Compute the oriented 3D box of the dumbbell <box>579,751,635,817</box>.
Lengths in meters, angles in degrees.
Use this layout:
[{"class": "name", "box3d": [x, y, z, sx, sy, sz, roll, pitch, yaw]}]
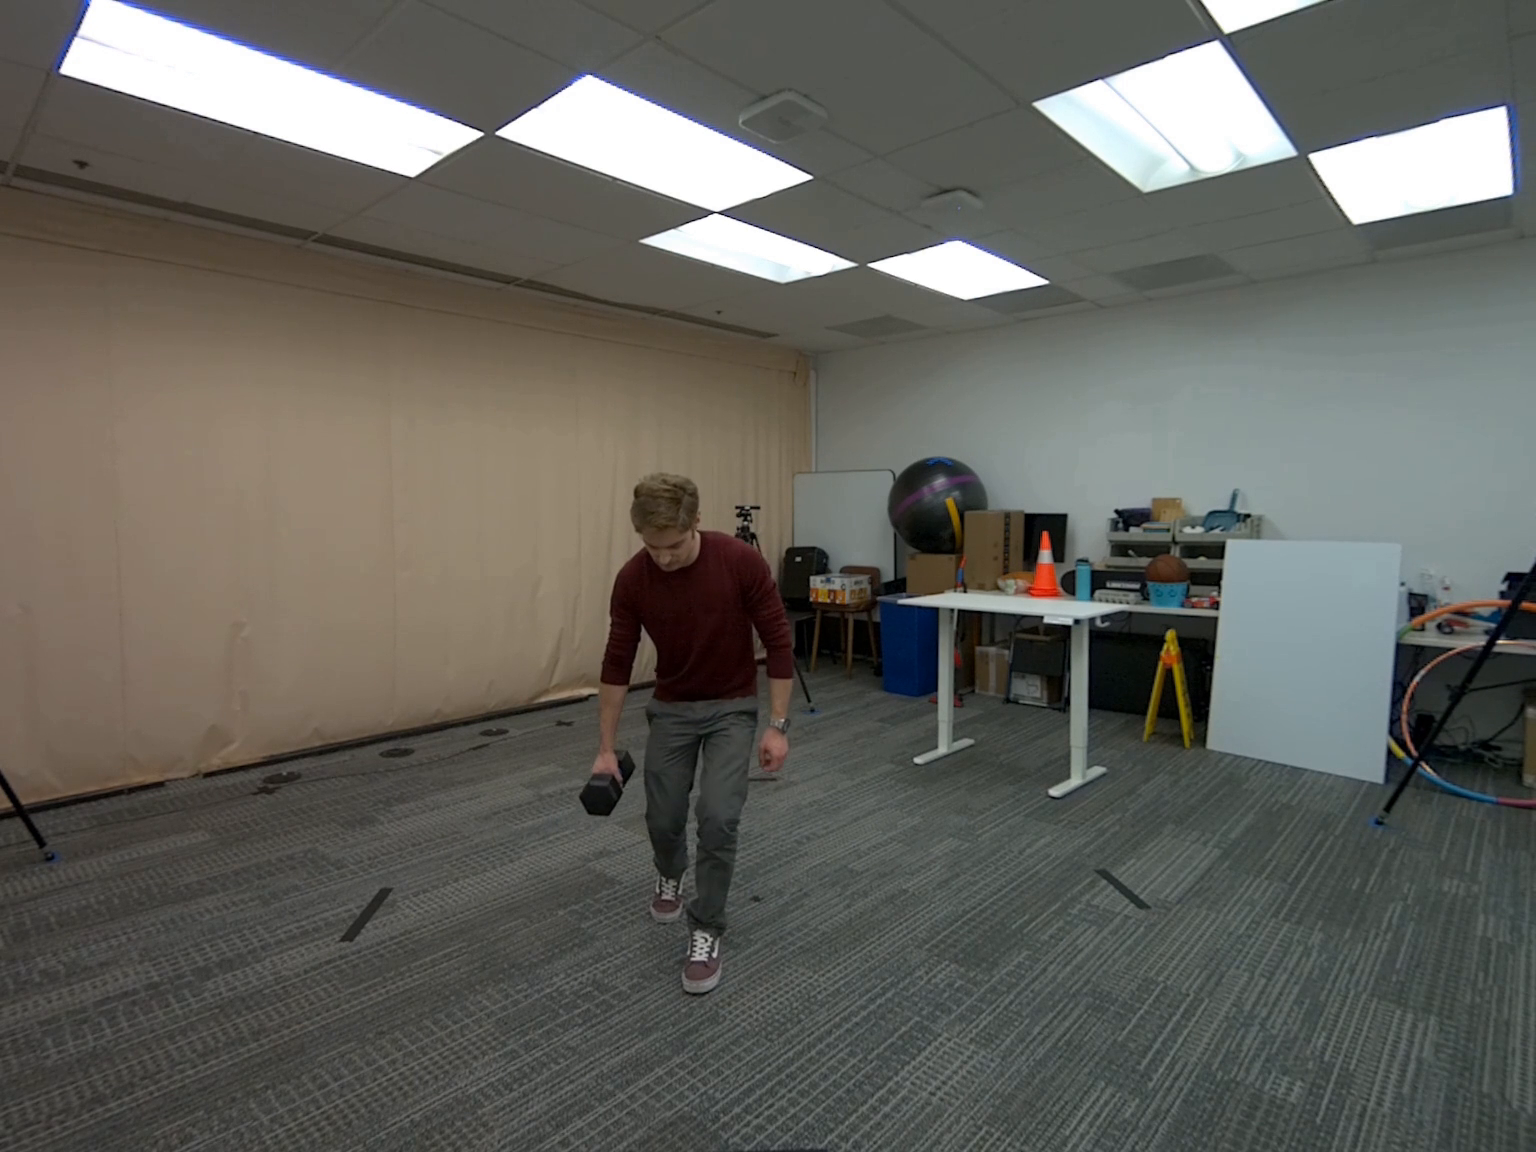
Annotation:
[{"class": "dumbbell", "box3d": [-0.489, 0.644, 2.618, 0.108, 0.123, 0.294, 33, 6, -3]}]
